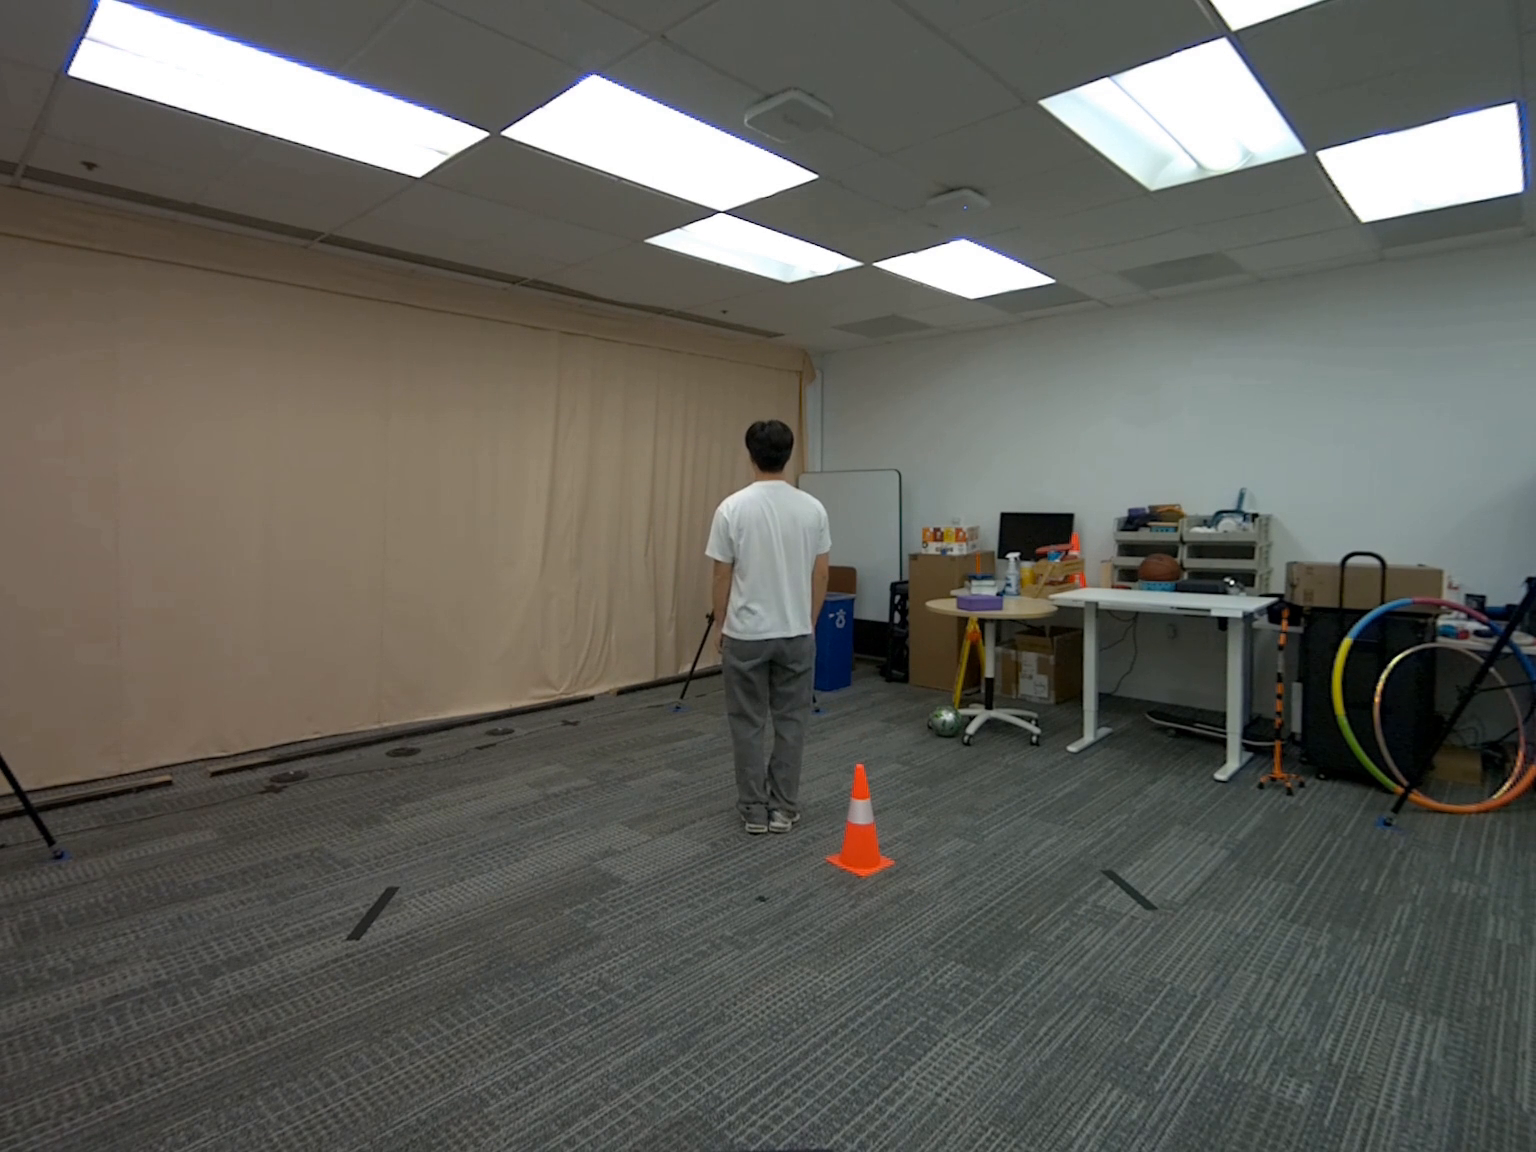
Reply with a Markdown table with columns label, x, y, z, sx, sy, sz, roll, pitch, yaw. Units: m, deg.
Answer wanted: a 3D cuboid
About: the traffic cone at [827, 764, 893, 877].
| label | x | y | z | sx | sy | sz | roll | pitch | yaw |
| --- | --- | --- | --- | --- | --- | --- | --- | --- | --- |
| traffic cone | 0.368 | 0.934 | 3.284 | 0.199 | 0.383 | 0.210 | -3 | 4 | -42 |
